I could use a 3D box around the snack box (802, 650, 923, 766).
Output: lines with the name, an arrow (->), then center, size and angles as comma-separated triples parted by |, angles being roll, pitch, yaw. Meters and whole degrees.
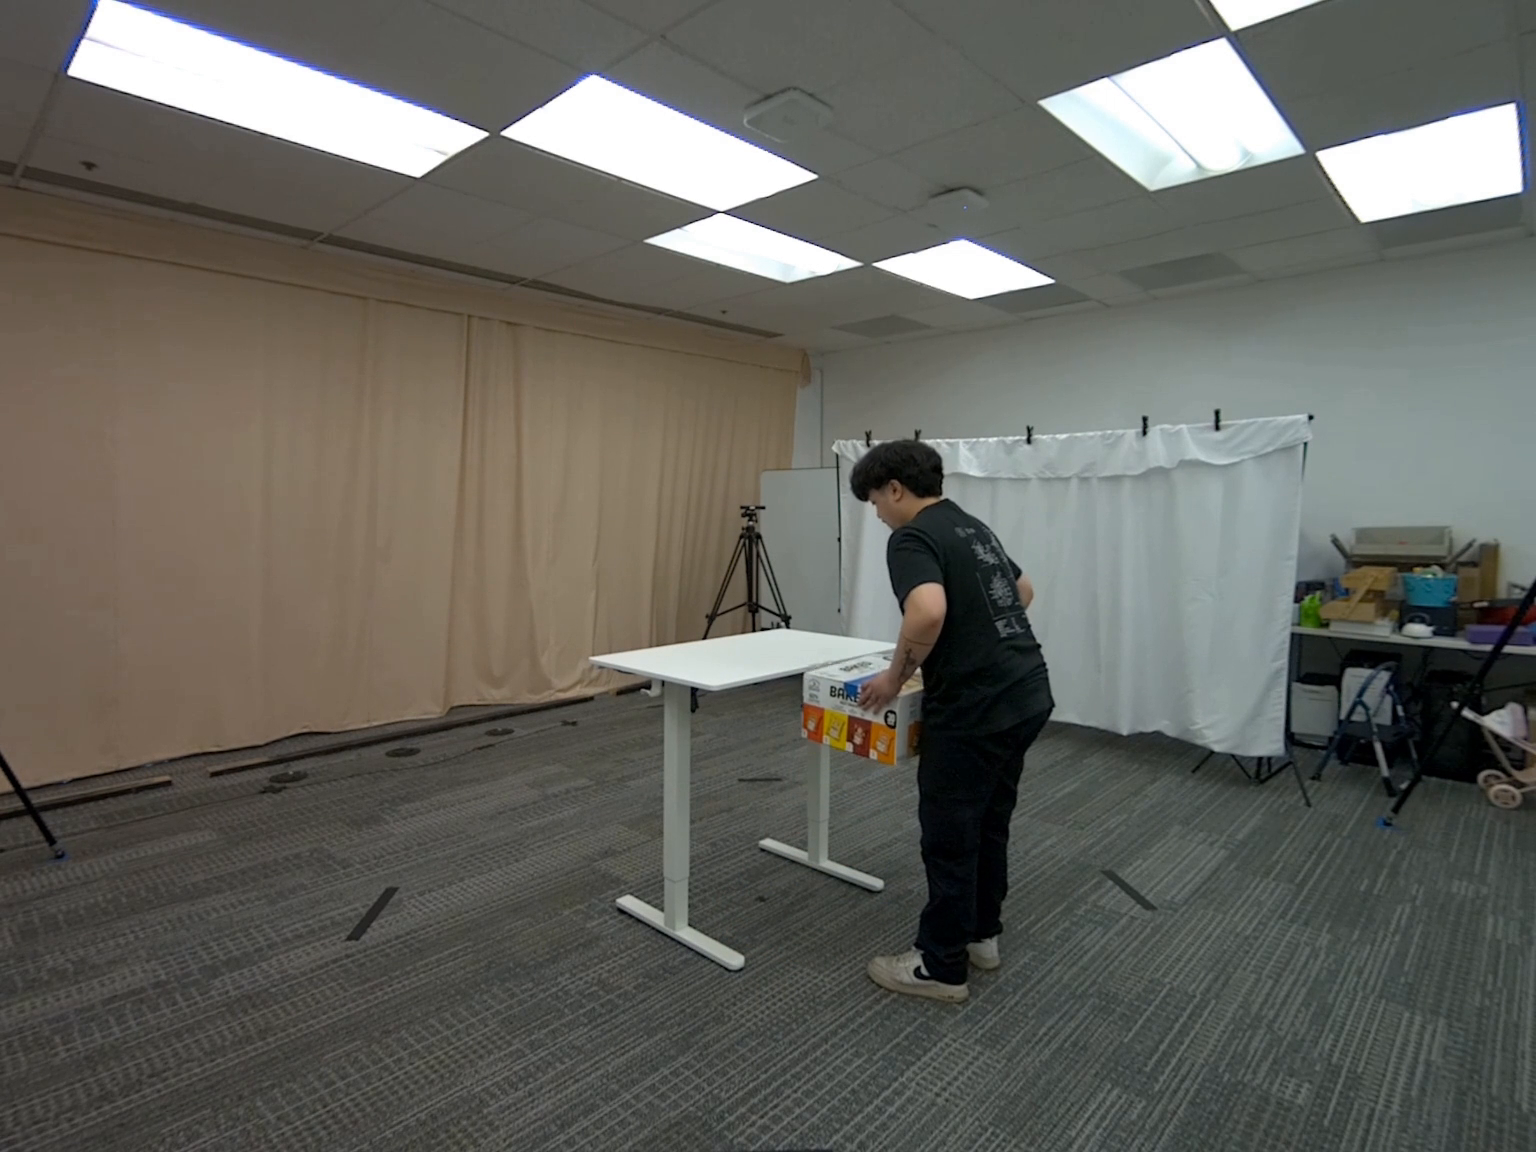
snack box -> 0.370, 0.402, 2.616 | 0.352, 0.205, 0.393 | 8, 10, 42
